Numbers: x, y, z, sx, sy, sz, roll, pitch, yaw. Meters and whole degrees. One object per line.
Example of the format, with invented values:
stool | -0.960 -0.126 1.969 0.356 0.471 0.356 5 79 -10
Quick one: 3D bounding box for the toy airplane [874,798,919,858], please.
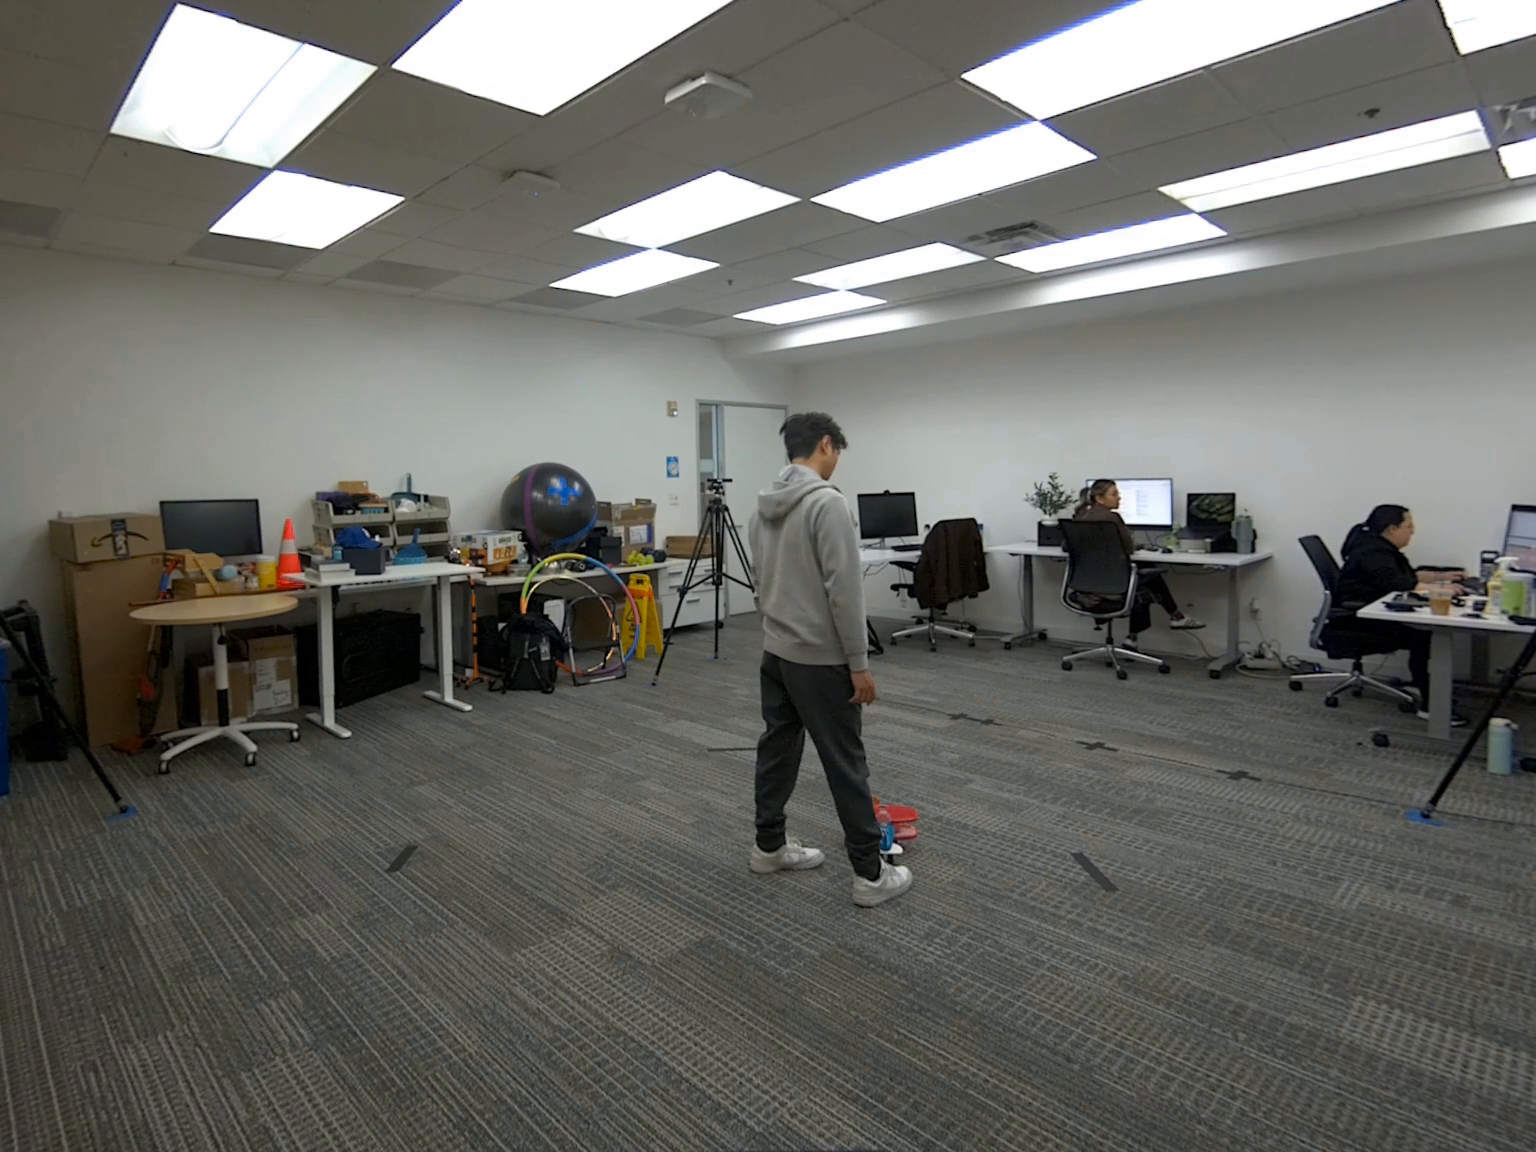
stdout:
toy airplane | 0.455 0.957 3.181 0.246 0.156 0.265 -4 6 -23
